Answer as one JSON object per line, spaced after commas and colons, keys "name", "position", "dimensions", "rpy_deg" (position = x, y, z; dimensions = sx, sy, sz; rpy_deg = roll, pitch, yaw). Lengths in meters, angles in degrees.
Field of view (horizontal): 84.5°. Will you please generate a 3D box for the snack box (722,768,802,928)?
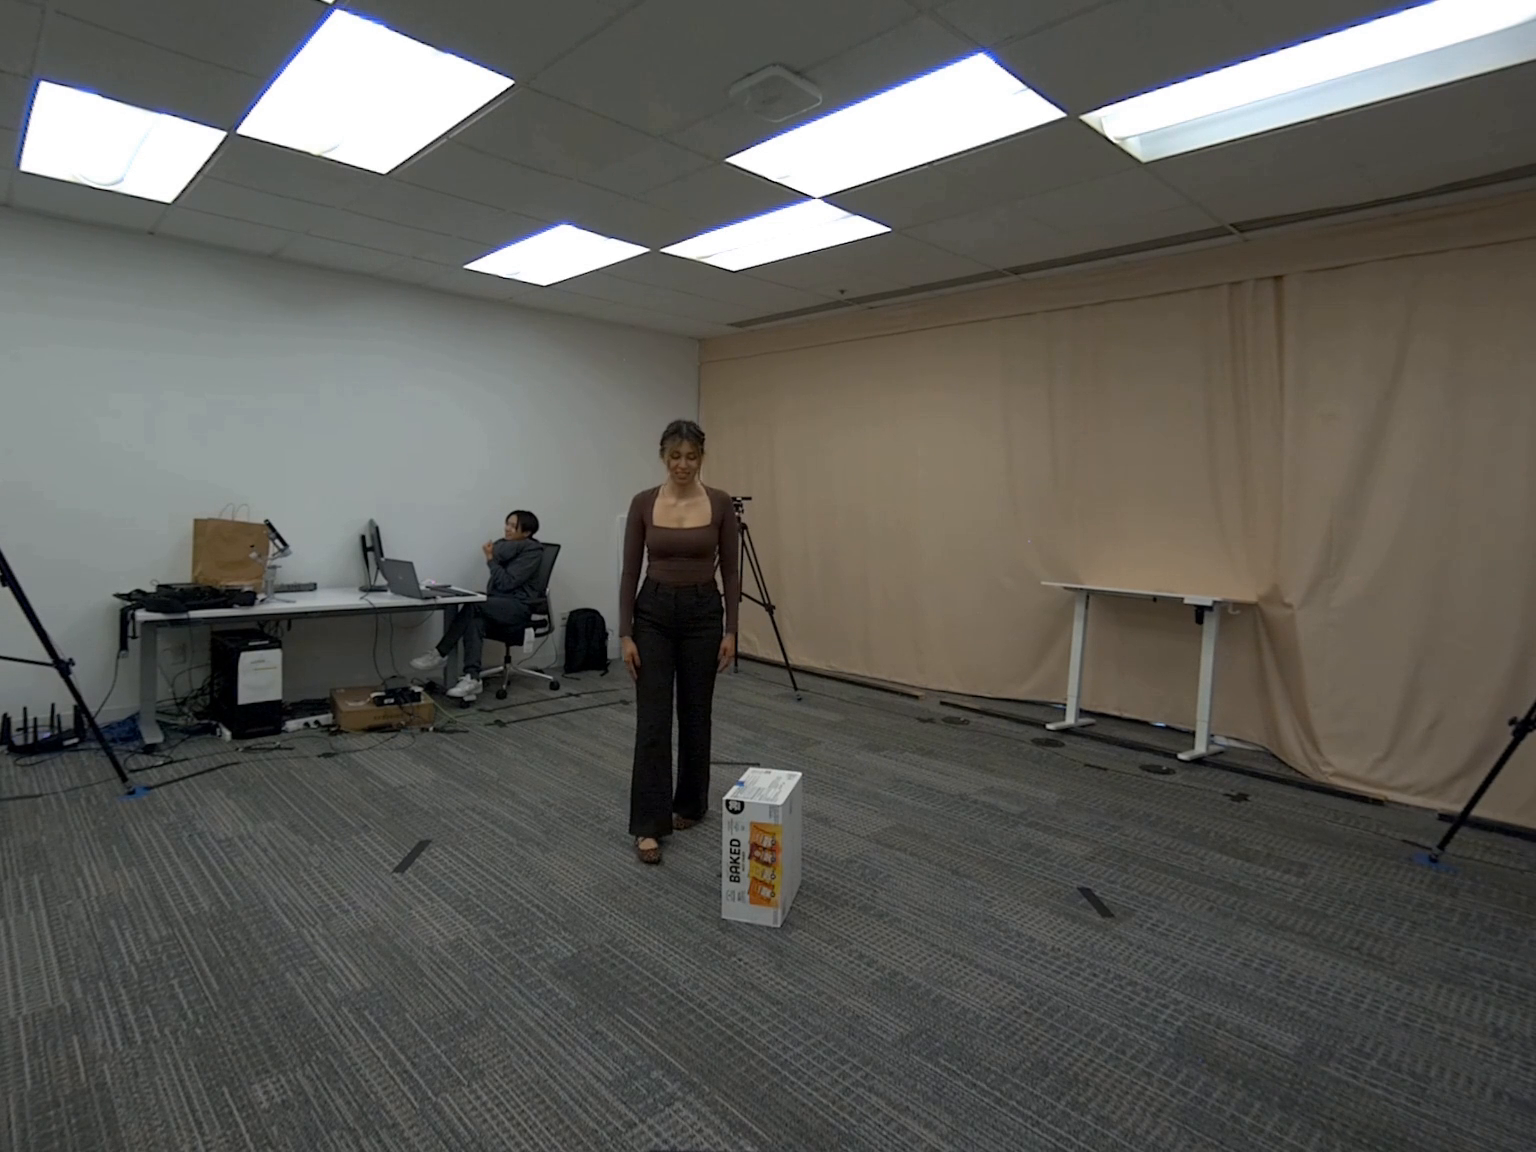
{"name": "snack box", "position": [-0.019, 0.922, 2.907], "dimensions": [0.208, 0.404, 0.337], "rpy_deg": [2, 3, 14]}
